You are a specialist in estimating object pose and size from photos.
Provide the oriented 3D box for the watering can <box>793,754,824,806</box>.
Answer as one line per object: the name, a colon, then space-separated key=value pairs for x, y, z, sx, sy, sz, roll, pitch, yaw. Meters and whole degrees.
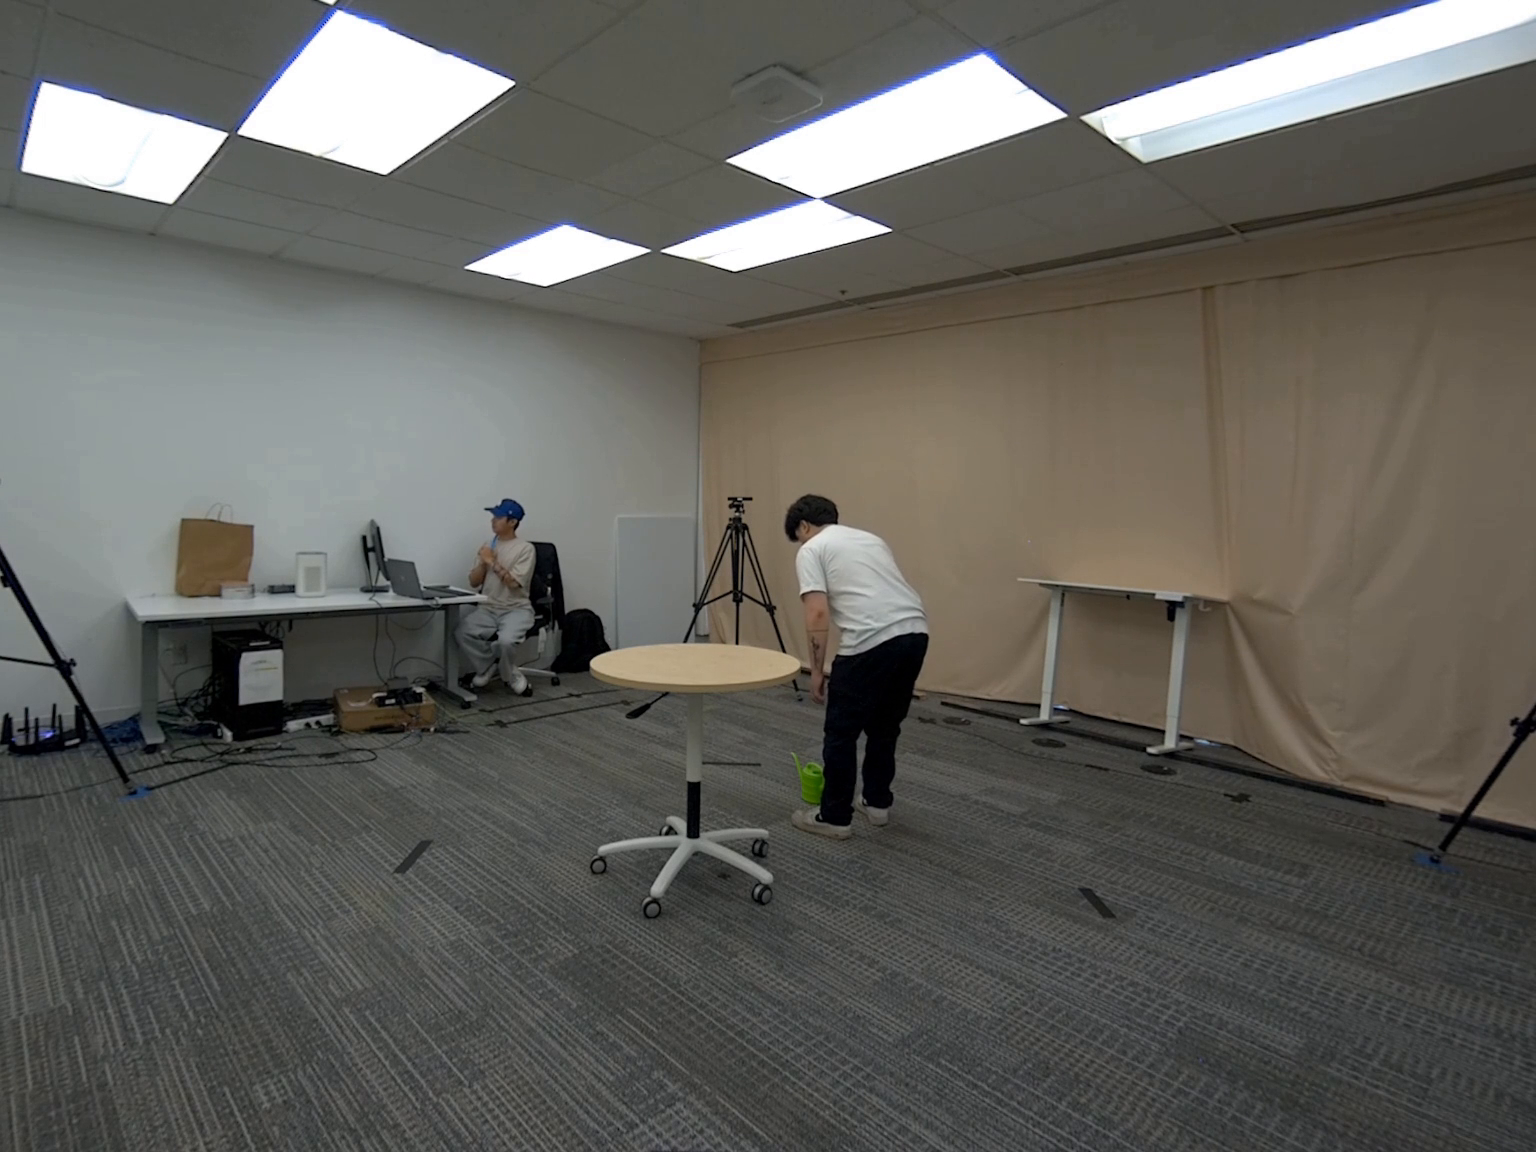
watering can: x=0.190 y=0.954 z=3.980 sx=0.096 sy=0.176 sz=0.283 roll=2 pitch=5 yaw=-18
